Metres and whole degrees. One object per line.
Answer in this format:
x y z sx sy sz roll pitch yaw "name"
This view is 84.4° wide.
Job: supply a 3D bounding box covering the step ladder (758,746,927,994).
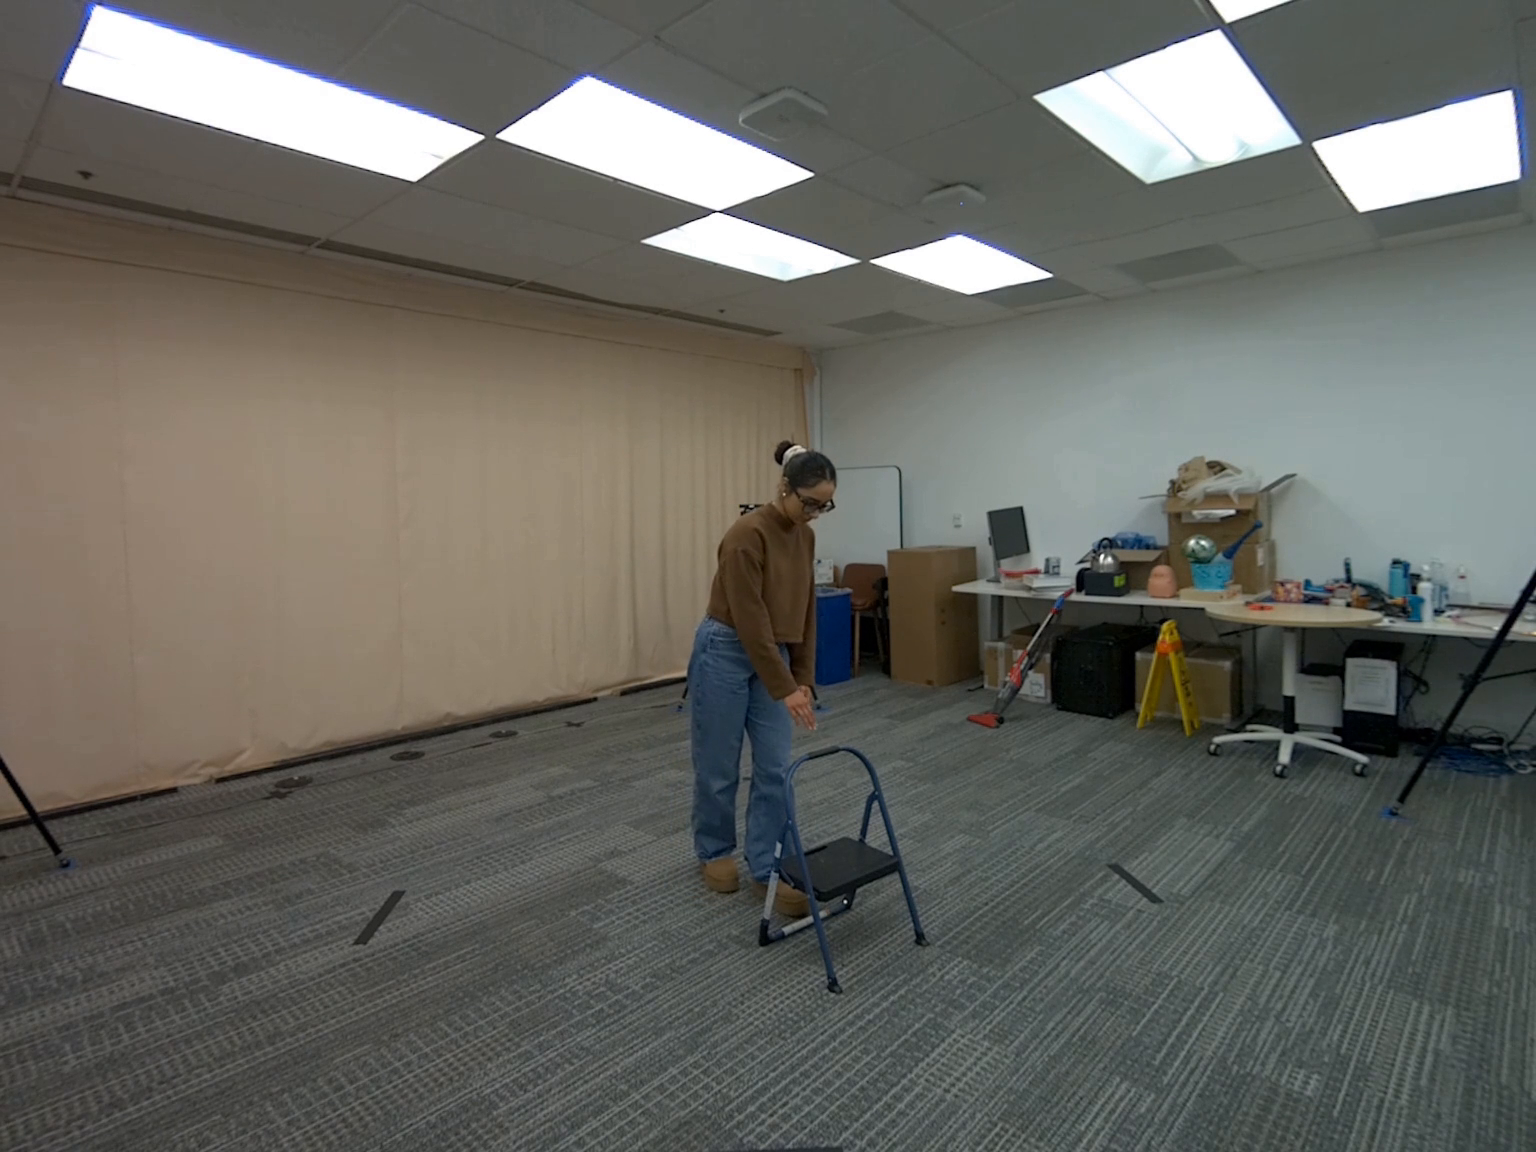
0.237 0.860 2.642 0.417 0.605 0.360 -4 4 -40 "step ladder"
